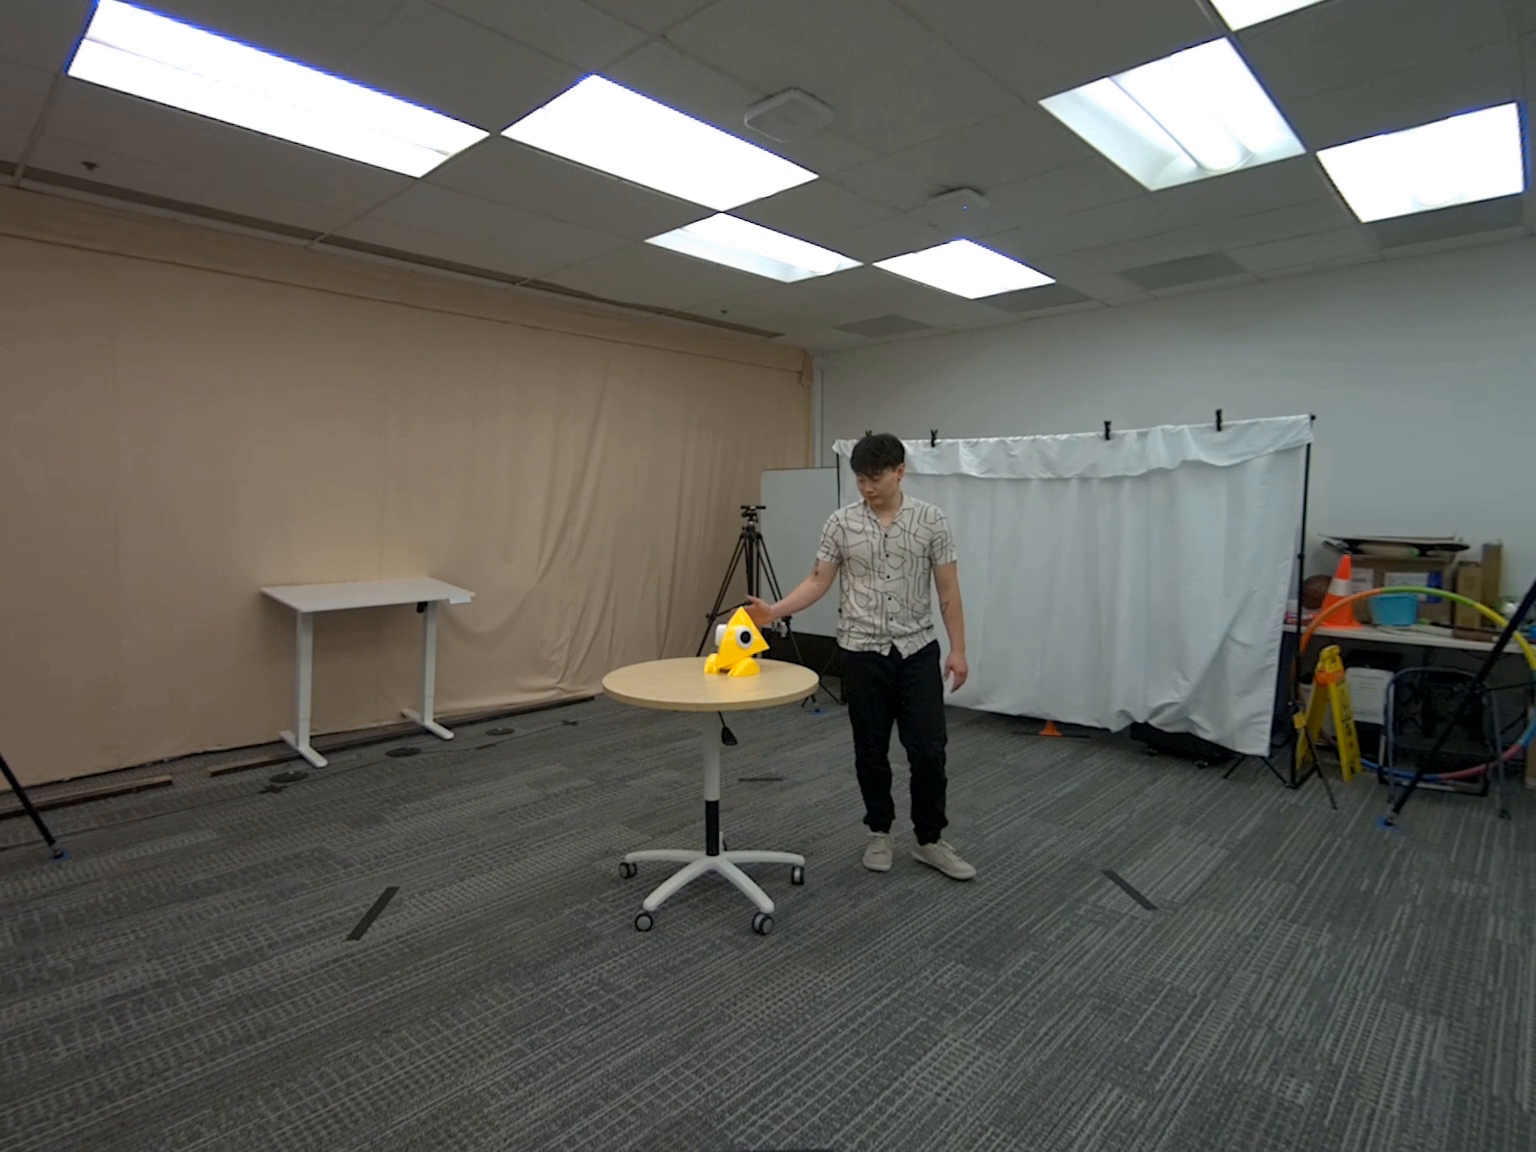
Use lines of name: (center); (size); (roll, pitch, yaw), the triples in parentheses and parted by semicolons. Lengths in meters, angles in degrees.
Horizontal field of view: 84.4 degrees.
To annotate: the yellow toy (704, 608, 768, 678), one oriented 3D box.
yellow toy: (-0.124, 0.235, 3.098); (0.211, 0.230, 0.188); (2, 5, 33)
